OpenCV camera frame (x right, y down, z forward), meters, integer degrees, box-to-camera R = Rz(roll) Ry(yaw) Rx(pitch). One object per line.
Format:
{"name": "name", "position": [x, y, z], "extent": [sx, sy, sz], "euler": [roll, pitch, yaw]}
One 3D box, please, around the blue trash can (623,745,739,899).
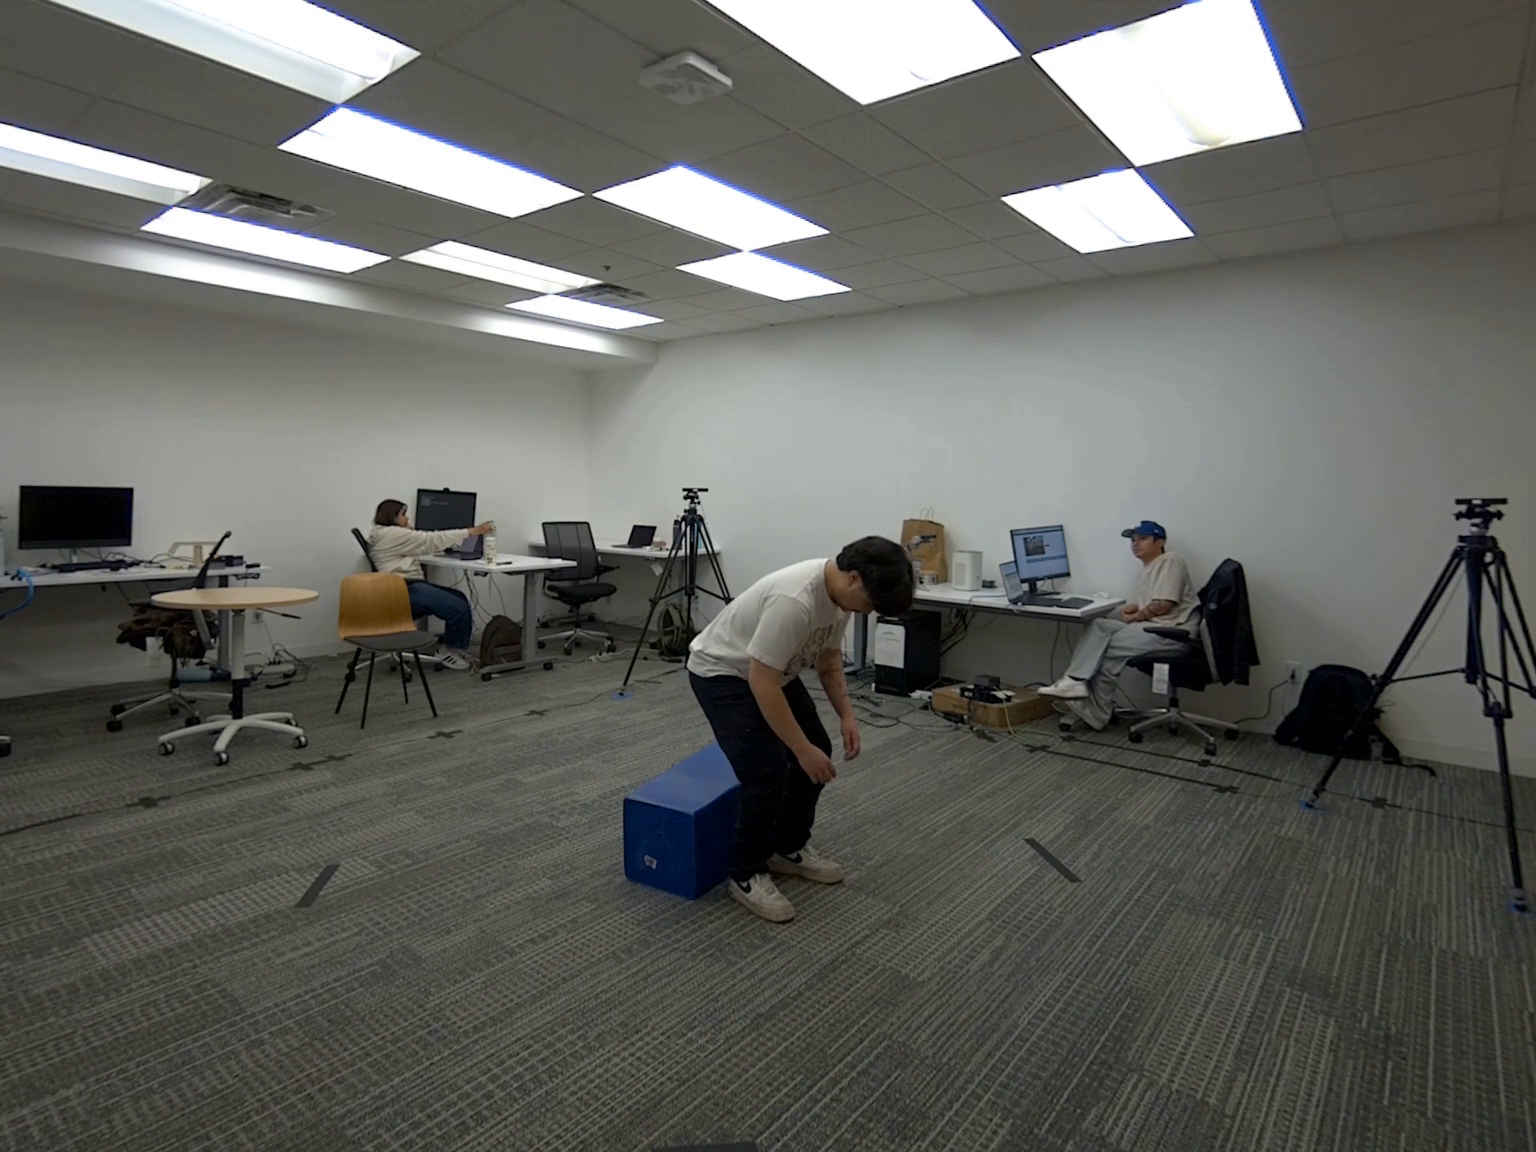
{"name": "blue trash can", "position": [-0.226, 0.894, 3.231], "extent": [0.389, 0.371, 0.697], "euler": [4, 9, 29]}
